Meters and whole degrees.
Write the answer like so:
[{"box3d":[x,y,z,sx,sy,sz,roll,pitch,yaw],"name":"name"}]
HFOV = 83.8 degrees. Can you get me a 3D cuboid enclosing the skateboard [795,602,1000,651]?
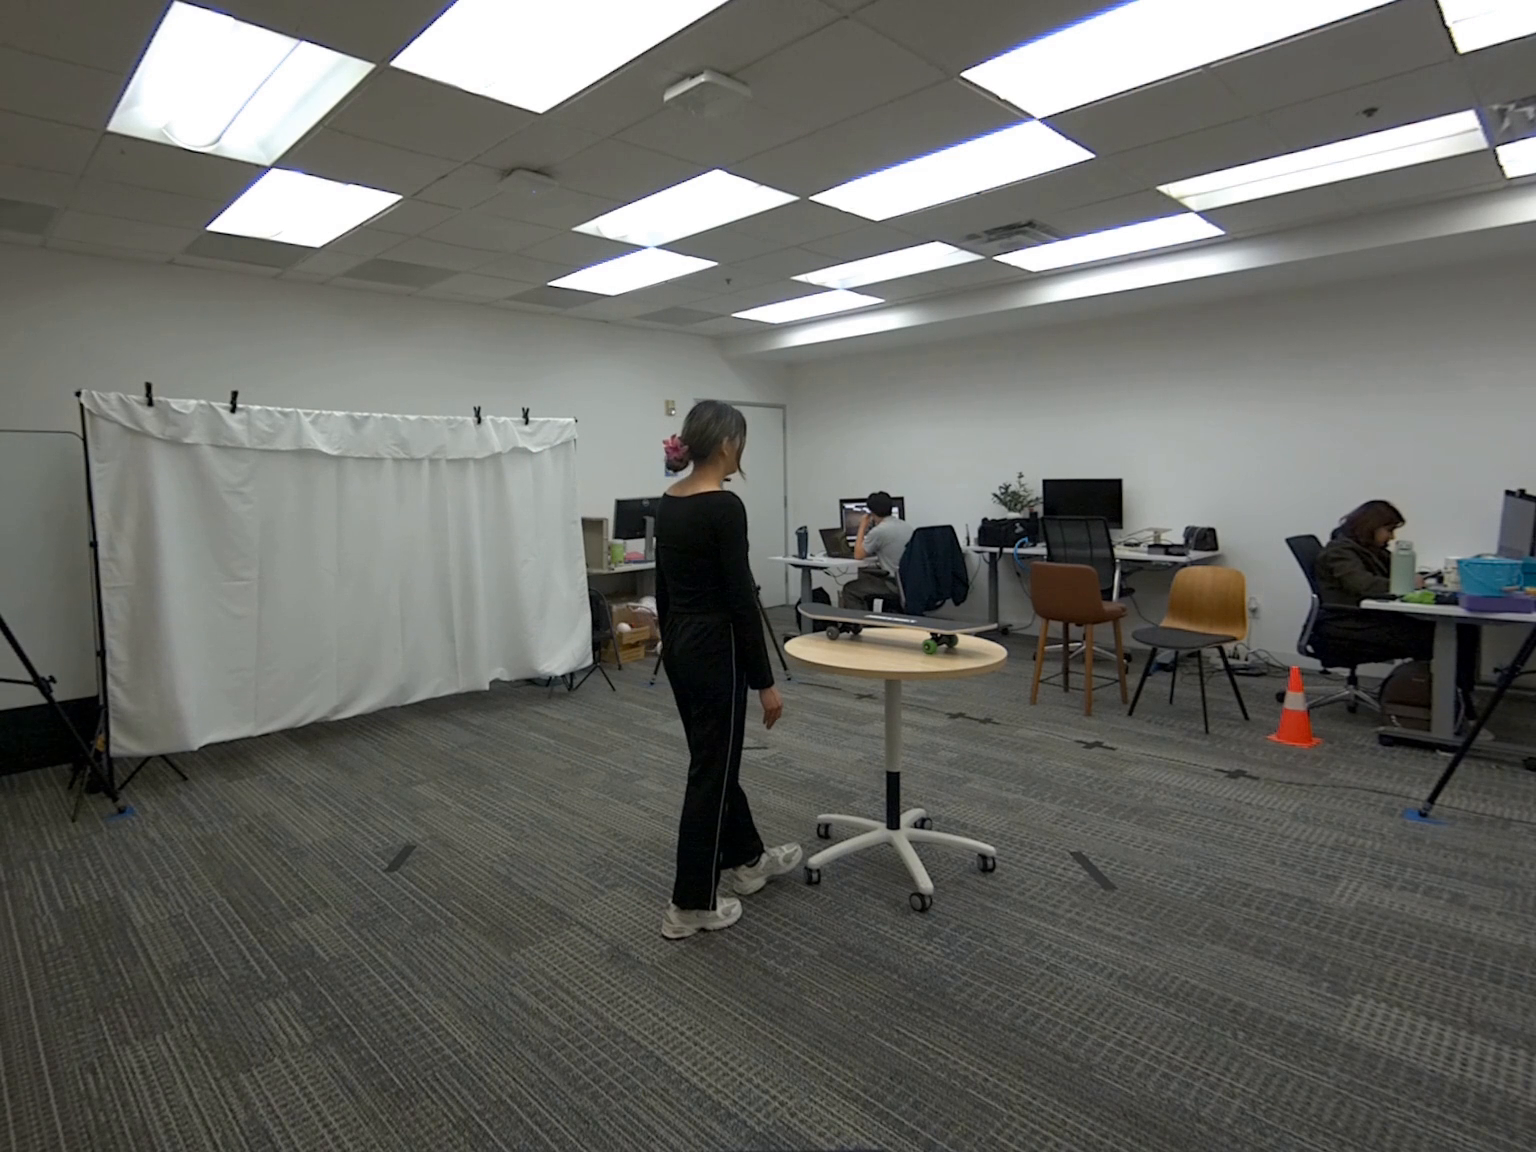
[{"box3d":[0.450,0.195,3.080,0.809,0.110,0.188,4,6,41],"name":"skateboard"}]
